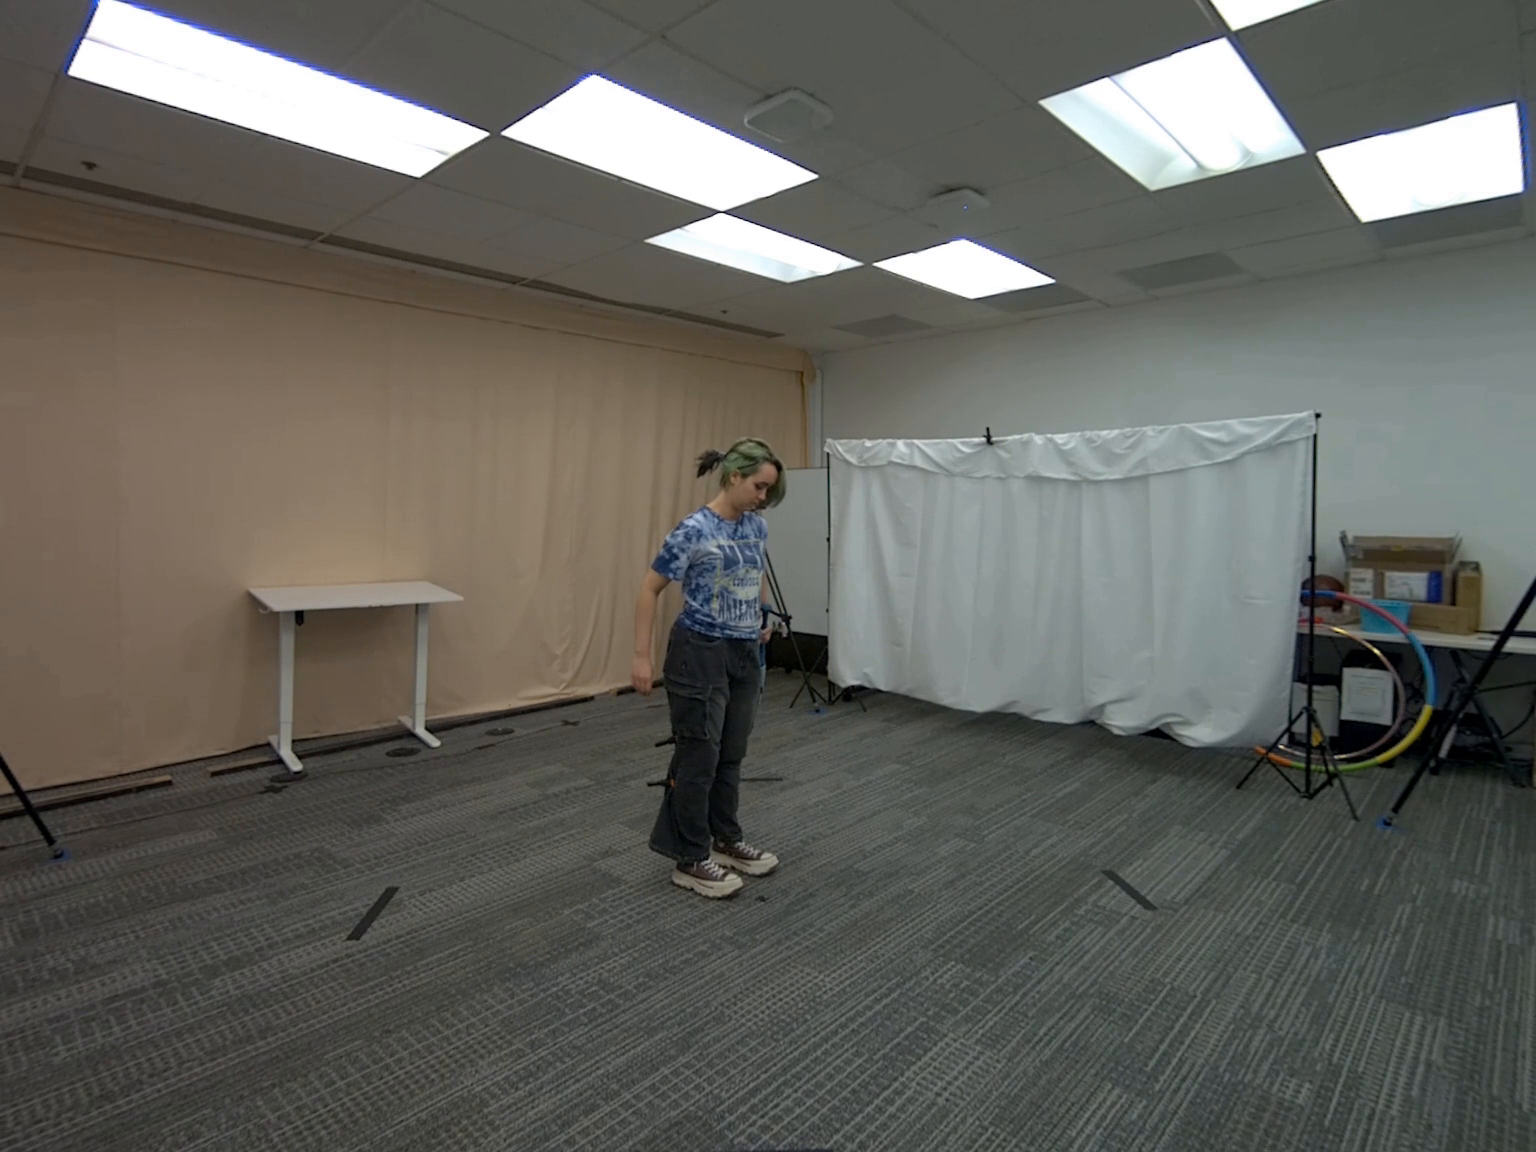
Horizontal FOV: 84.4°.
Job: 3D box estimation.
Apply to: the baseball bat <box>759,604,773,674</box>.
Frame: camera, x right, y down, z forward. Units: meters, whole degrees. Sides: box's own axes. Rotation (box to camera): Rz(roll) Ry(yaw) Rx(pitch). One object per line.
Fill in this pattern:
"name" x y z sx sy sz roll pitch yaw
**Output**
"baseball bat" -0.051 0.341 3.433 0.089 0.536 0.090 5 33 -5
